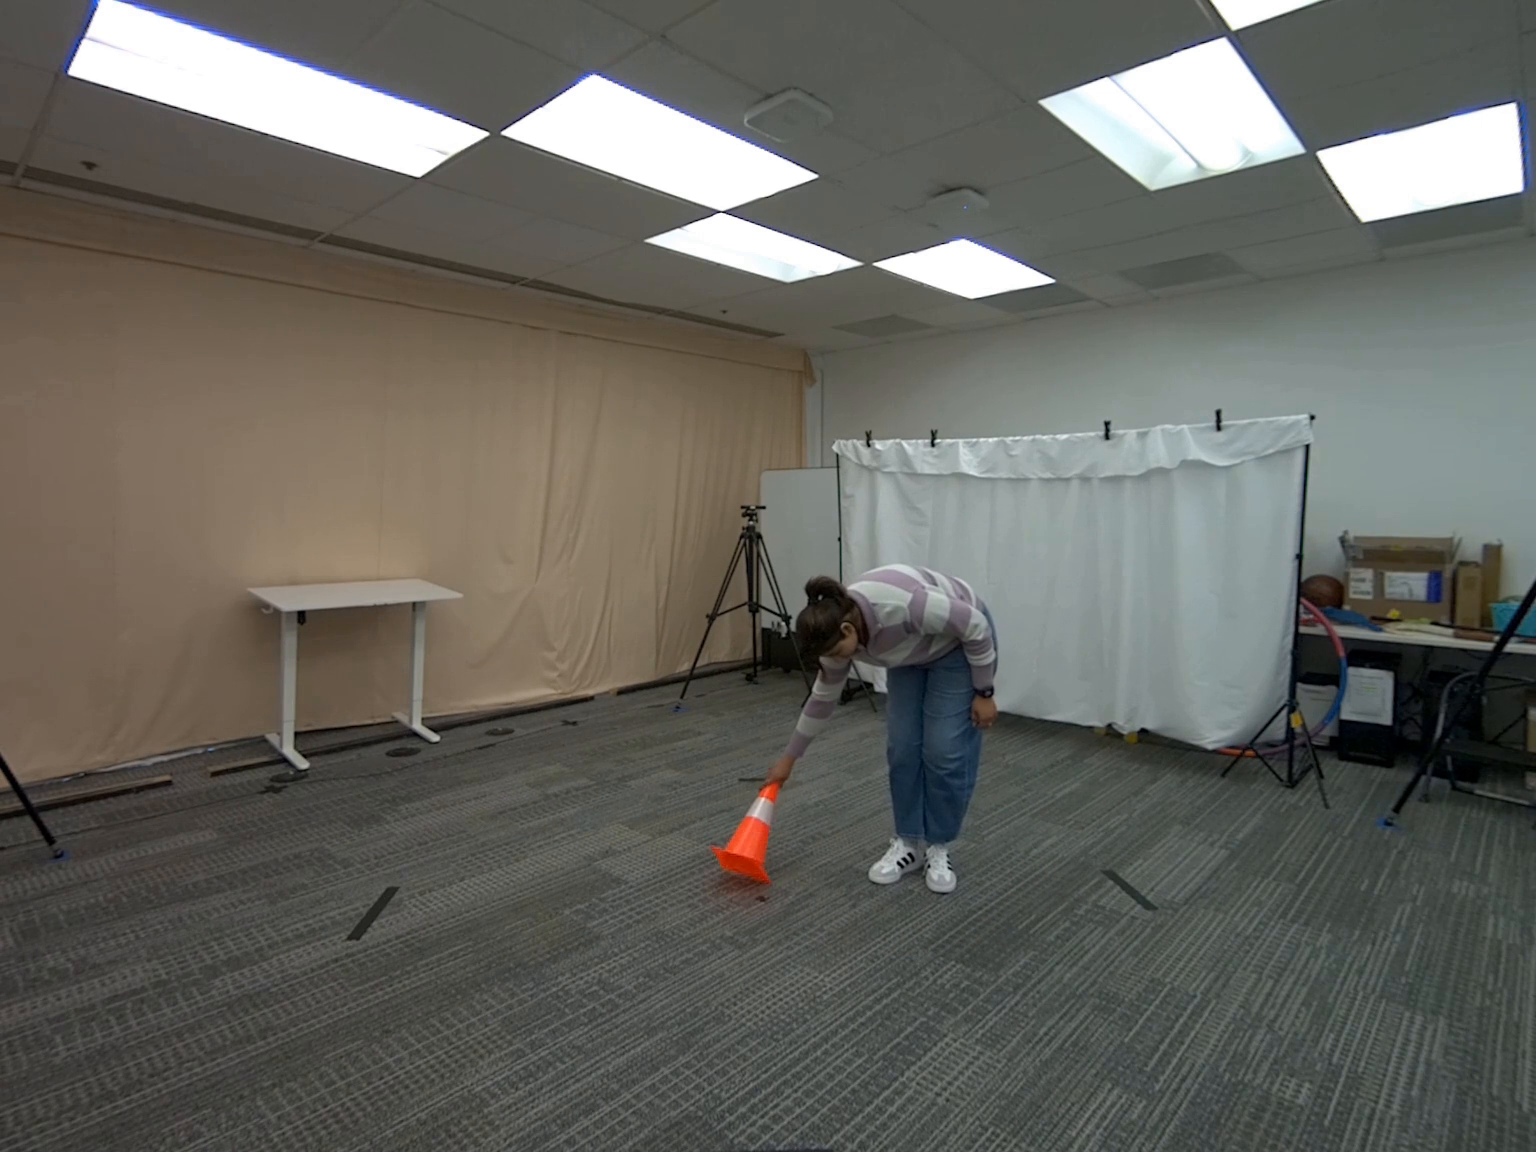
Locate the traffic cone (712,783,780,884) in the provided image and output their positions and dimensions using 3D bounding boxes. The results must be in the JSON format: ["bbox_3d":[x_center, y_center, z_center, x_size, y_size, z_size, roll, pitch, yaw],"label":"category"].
[{"bbox_3d":[-0.026,0.917,3.204,0.200,0.386,0.207,31,-37,-14],"label":"traffic cone"}]
